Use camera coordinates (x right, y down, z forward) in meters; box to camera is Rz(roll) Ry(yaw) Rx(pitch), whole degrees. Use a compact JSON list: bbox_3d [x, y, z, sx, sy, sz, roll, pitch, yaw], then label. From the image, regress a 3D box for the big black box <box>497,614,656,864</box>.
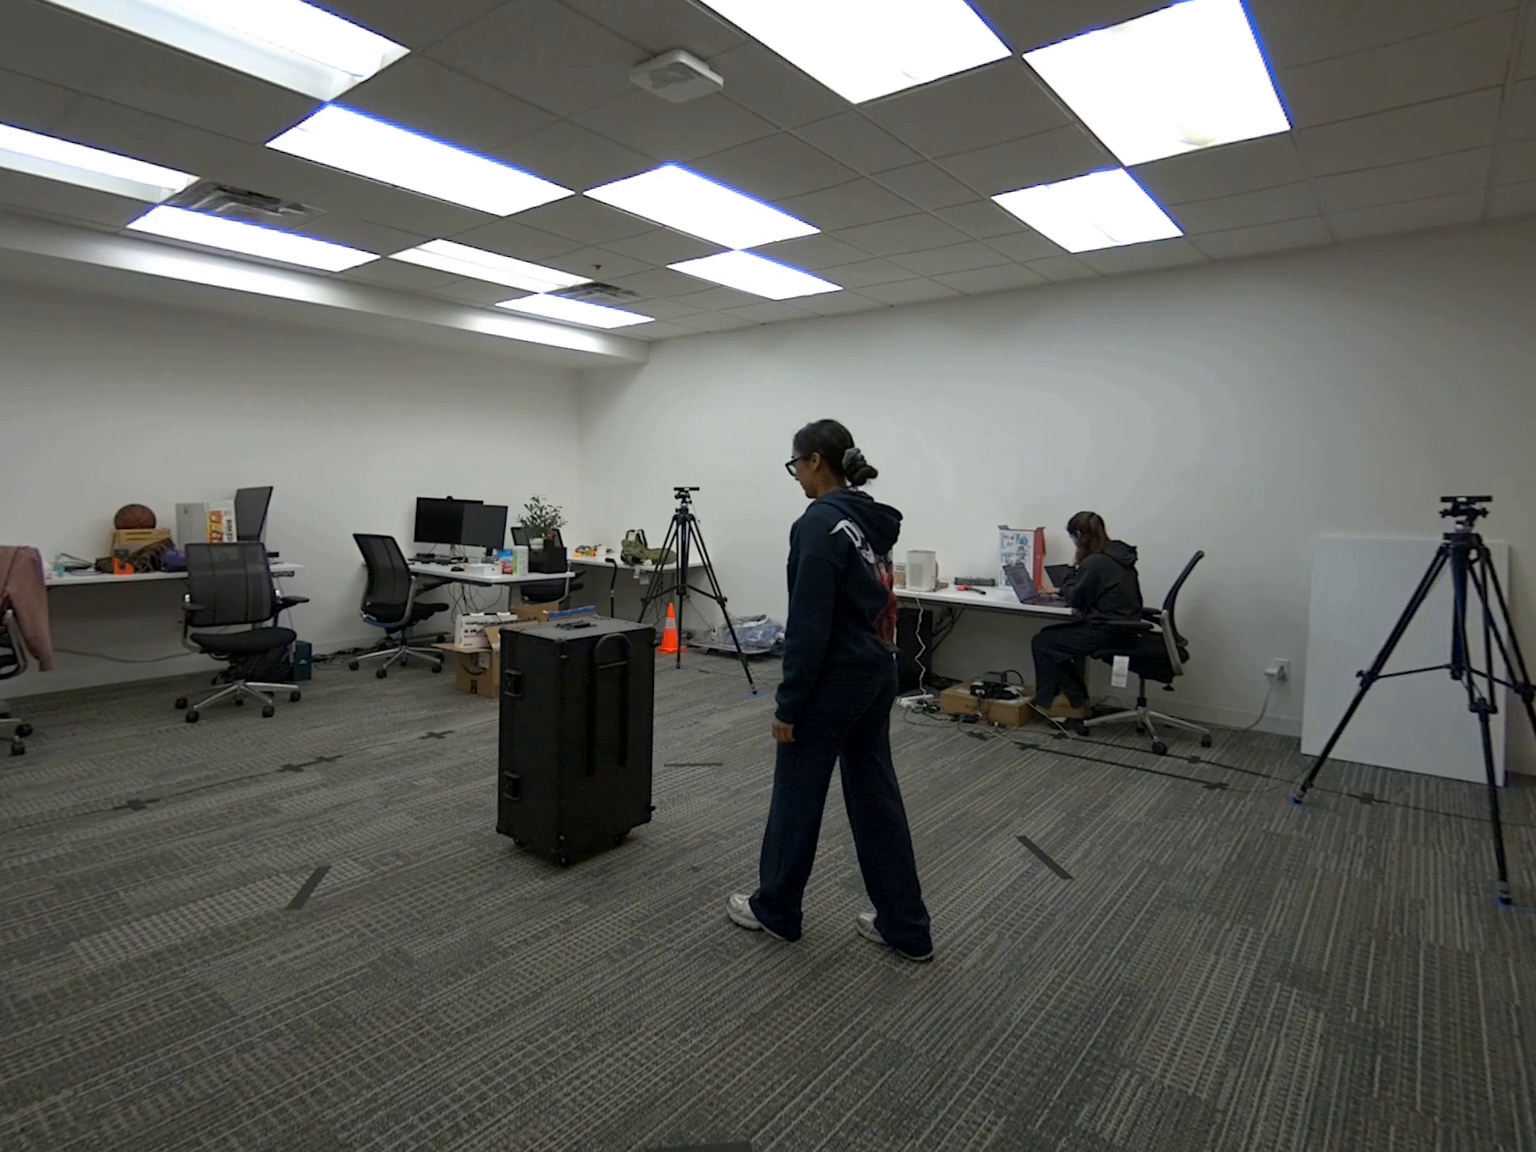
[{"bbox_3d":[-0.739,0.620,3.279,0.410,0.858,0.506,6,5,38],"label":"big black box"}]
